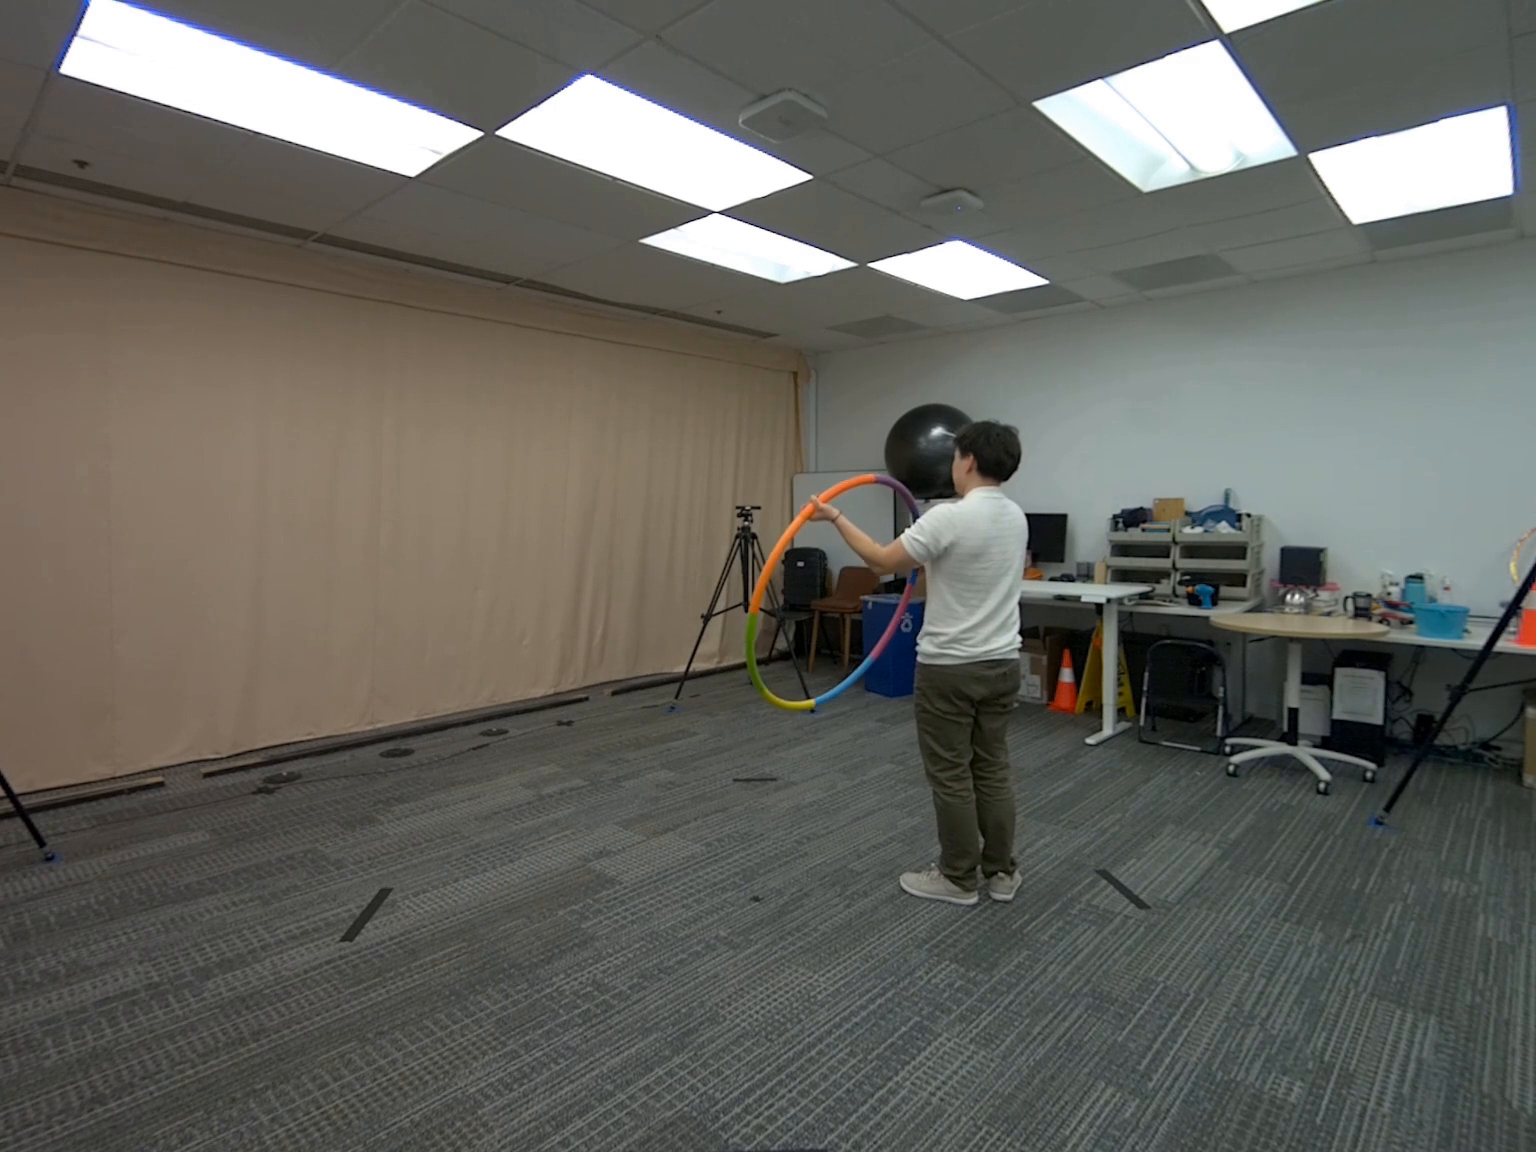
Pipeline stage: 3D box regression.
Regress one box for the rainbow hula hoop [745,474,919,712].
[{"bbox_3d":[0.284,0.075,3.259,0.948,0.973,0.037,-4,26,-45],"label":"rainbow hula hoop"}]
